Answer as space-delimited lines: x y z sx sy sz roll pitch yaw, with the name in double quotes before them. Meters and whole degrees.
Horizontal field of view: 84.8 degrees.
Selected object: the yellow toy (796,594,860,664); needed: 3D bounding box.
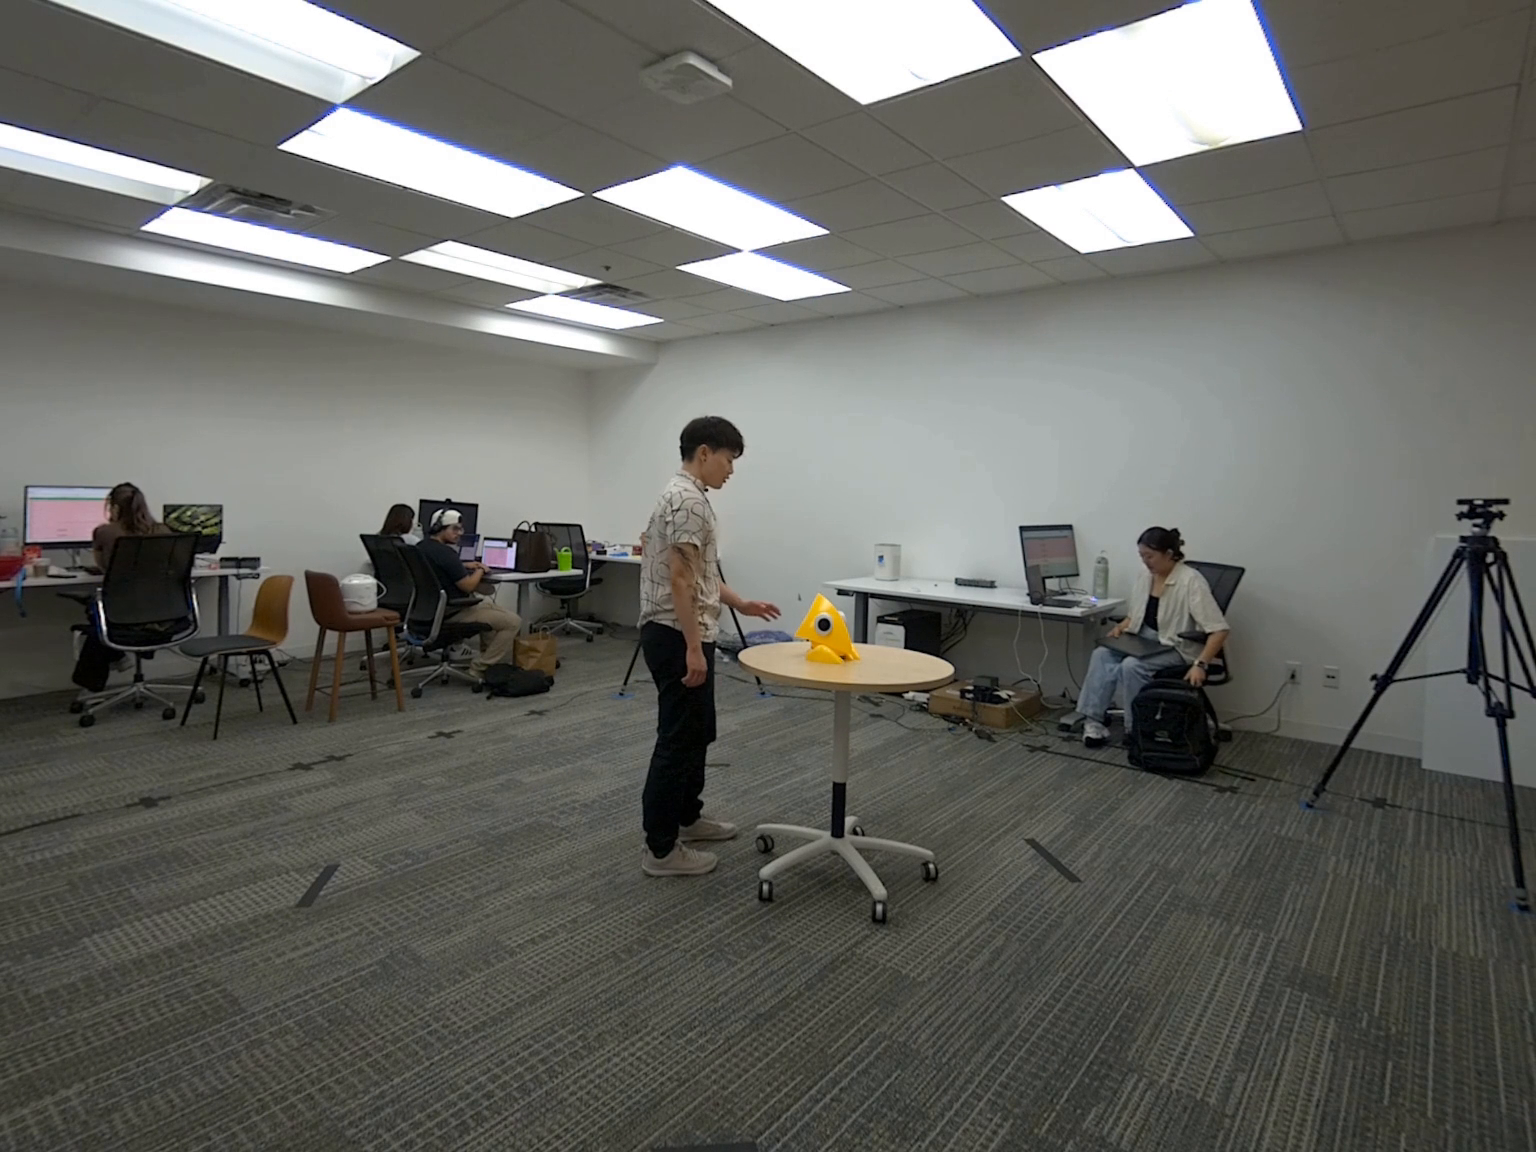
"yellow toy" 0.222 0.186 3.091 0.200 0.230 0.198 6 6 40
